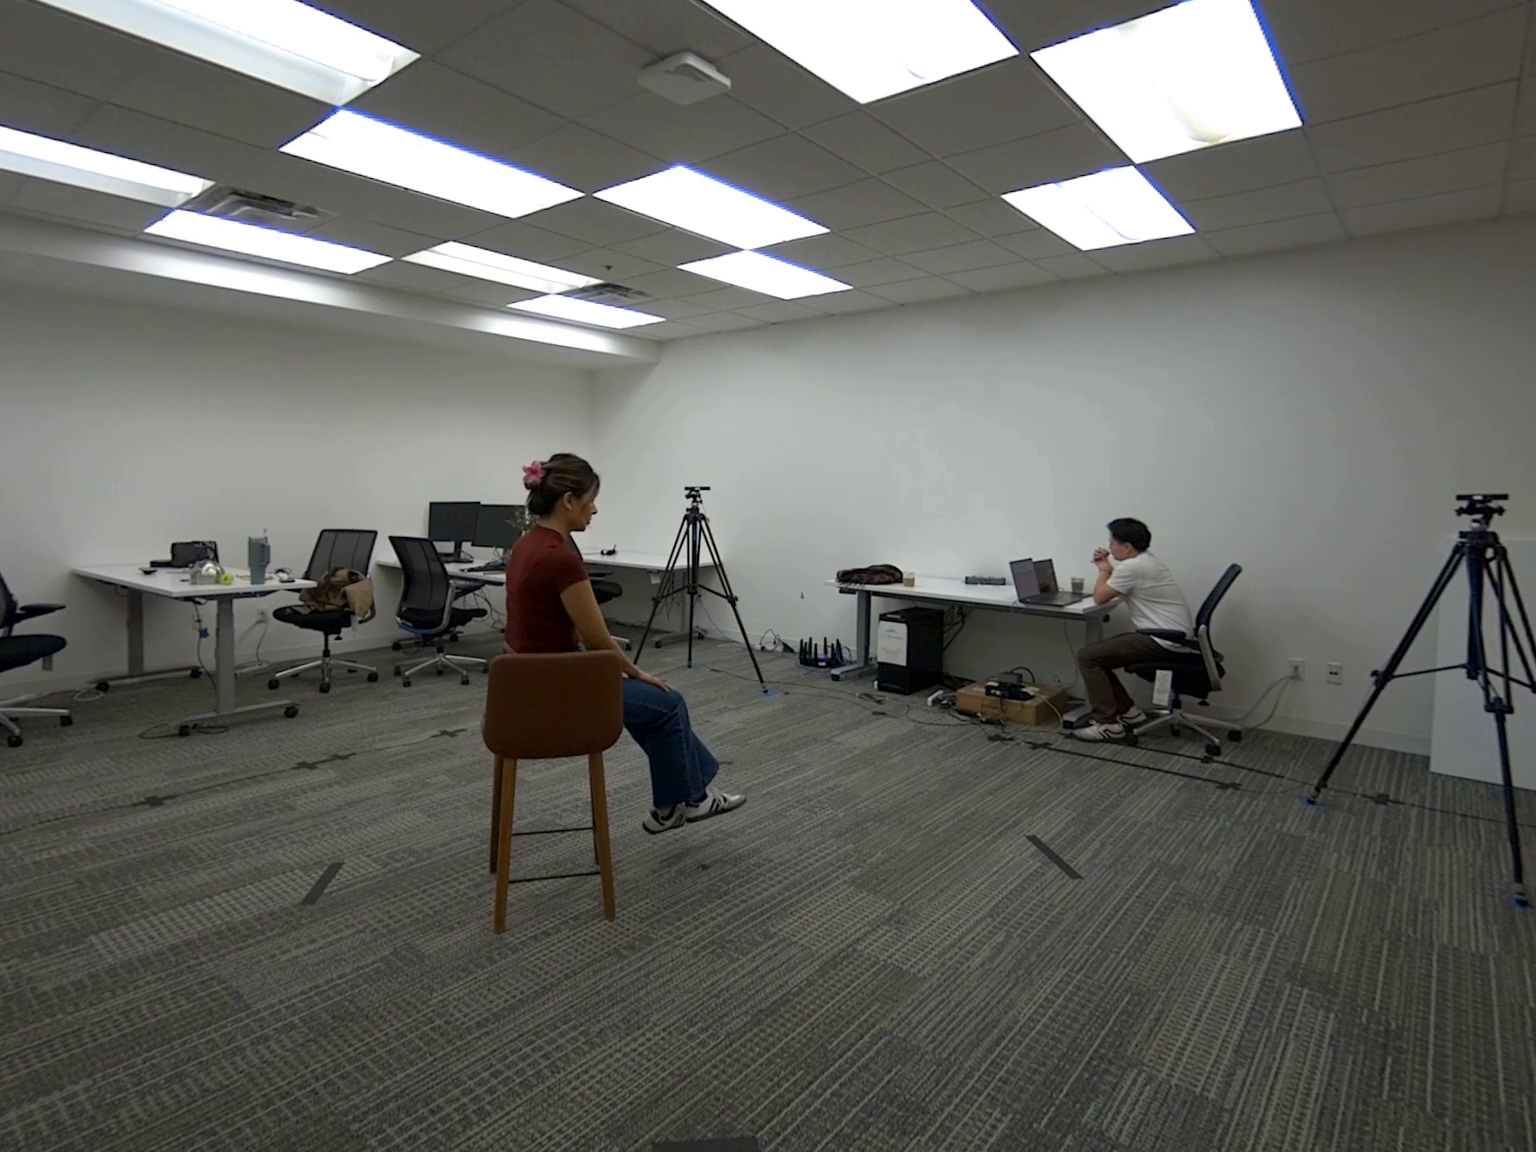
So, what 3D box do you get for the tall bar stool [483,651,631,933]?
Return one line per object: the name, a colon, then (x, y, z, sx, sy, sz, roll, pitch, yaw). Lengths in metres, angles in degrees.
tall bar stool: (-0.747, 0.652, 2.859, 0.449, 0.886, 0.478, -1, 5, -18)
